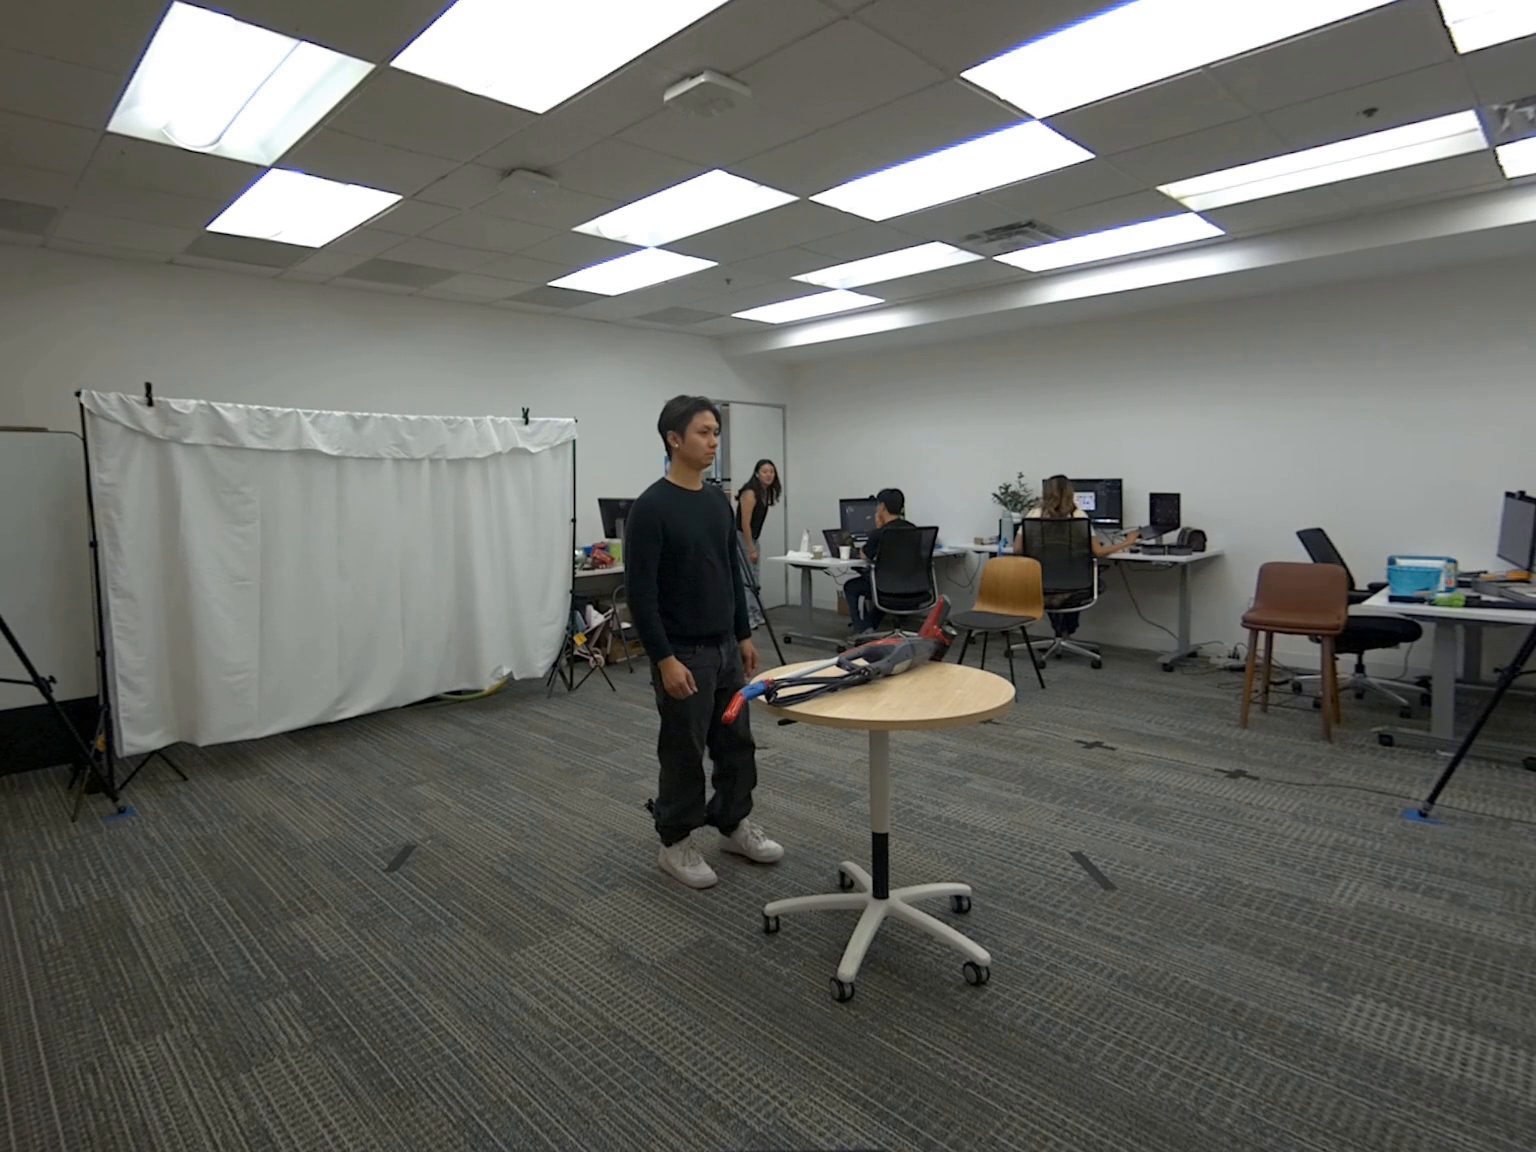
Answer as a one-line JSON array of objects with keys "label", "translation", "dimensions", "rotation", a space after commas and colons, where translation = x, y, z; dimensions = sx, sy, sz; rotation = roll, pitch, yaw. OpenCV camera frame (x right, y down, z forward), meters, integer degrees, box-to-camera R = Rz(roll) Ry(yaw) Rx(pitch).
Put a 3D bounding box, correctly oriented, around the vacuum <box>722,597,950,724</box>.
[{"label": "vacuum", "translation": [0.231, 0.288, 2.504], "dimensions": [1.025, 0.249, 0.149], "rotation": [-12, 44, -46]}]
